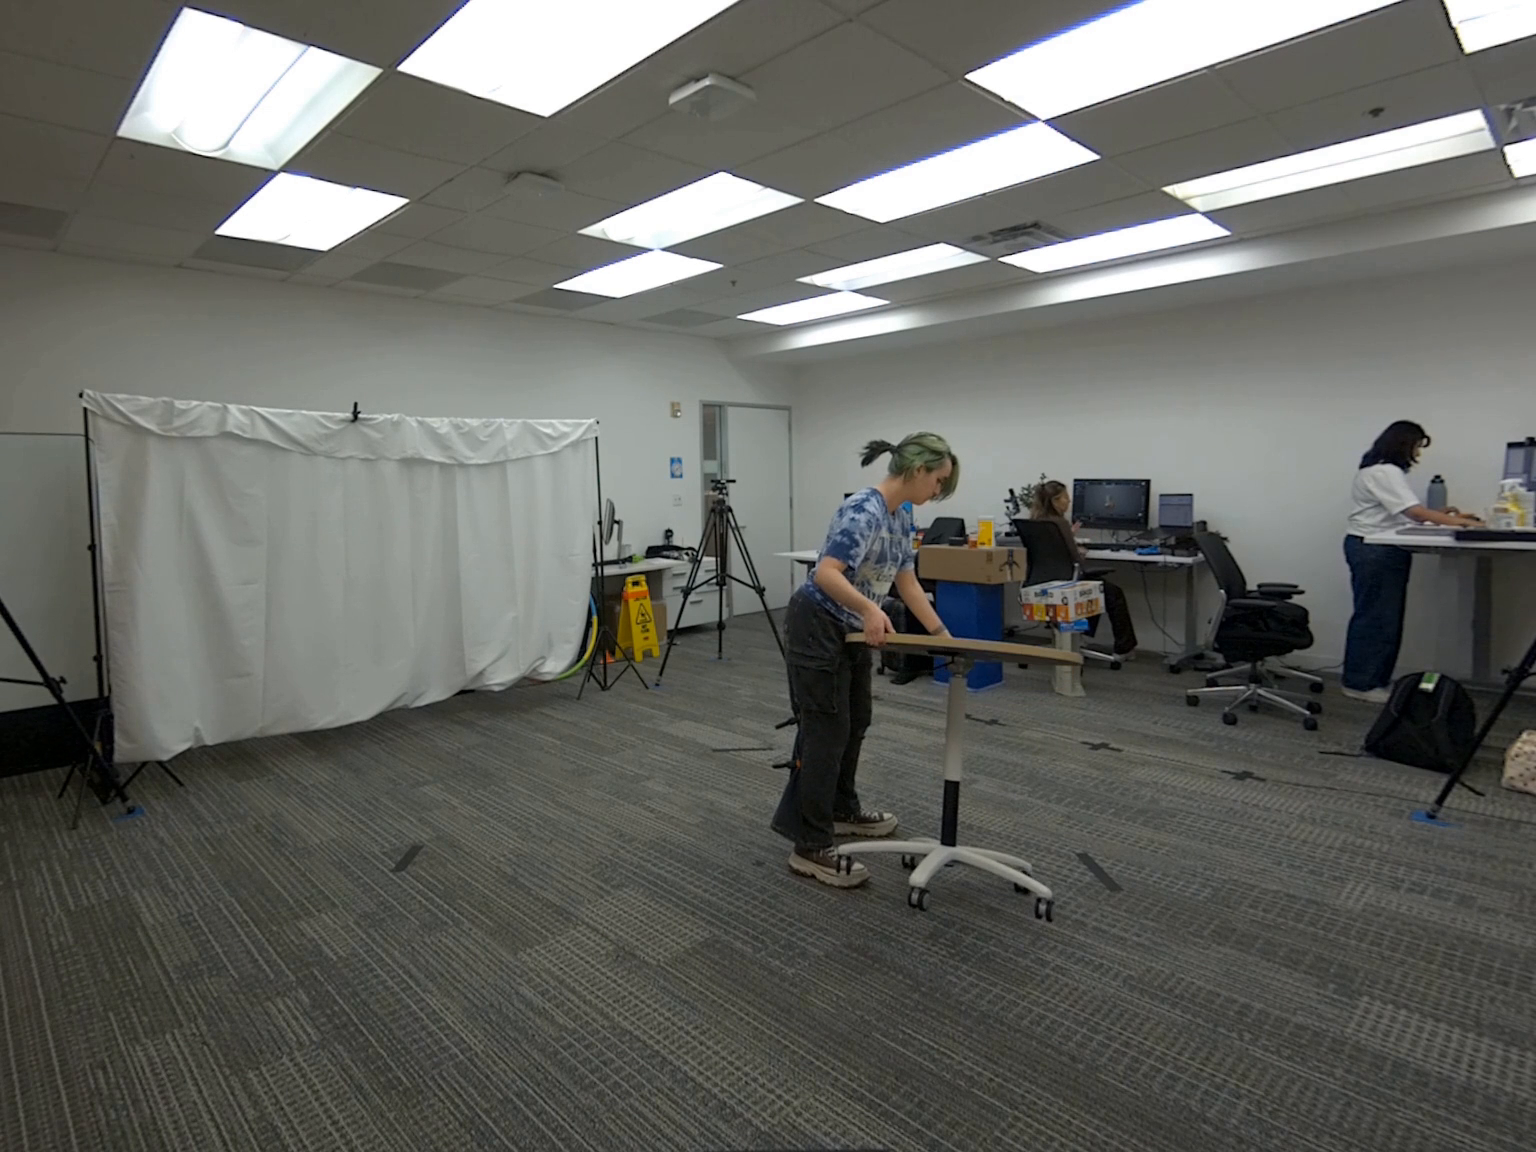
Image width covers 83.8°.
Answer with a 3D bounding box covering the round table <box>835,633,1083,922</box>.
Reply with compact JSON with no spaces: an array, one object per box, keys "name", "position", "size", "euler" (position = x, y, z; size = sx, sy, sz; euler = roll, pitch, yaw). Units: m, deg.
[{"name":"round table","position":[0.620,0.631,2.798],"size":[0.764,0.799,0.759],"euler":[6,-7,-1]}]
